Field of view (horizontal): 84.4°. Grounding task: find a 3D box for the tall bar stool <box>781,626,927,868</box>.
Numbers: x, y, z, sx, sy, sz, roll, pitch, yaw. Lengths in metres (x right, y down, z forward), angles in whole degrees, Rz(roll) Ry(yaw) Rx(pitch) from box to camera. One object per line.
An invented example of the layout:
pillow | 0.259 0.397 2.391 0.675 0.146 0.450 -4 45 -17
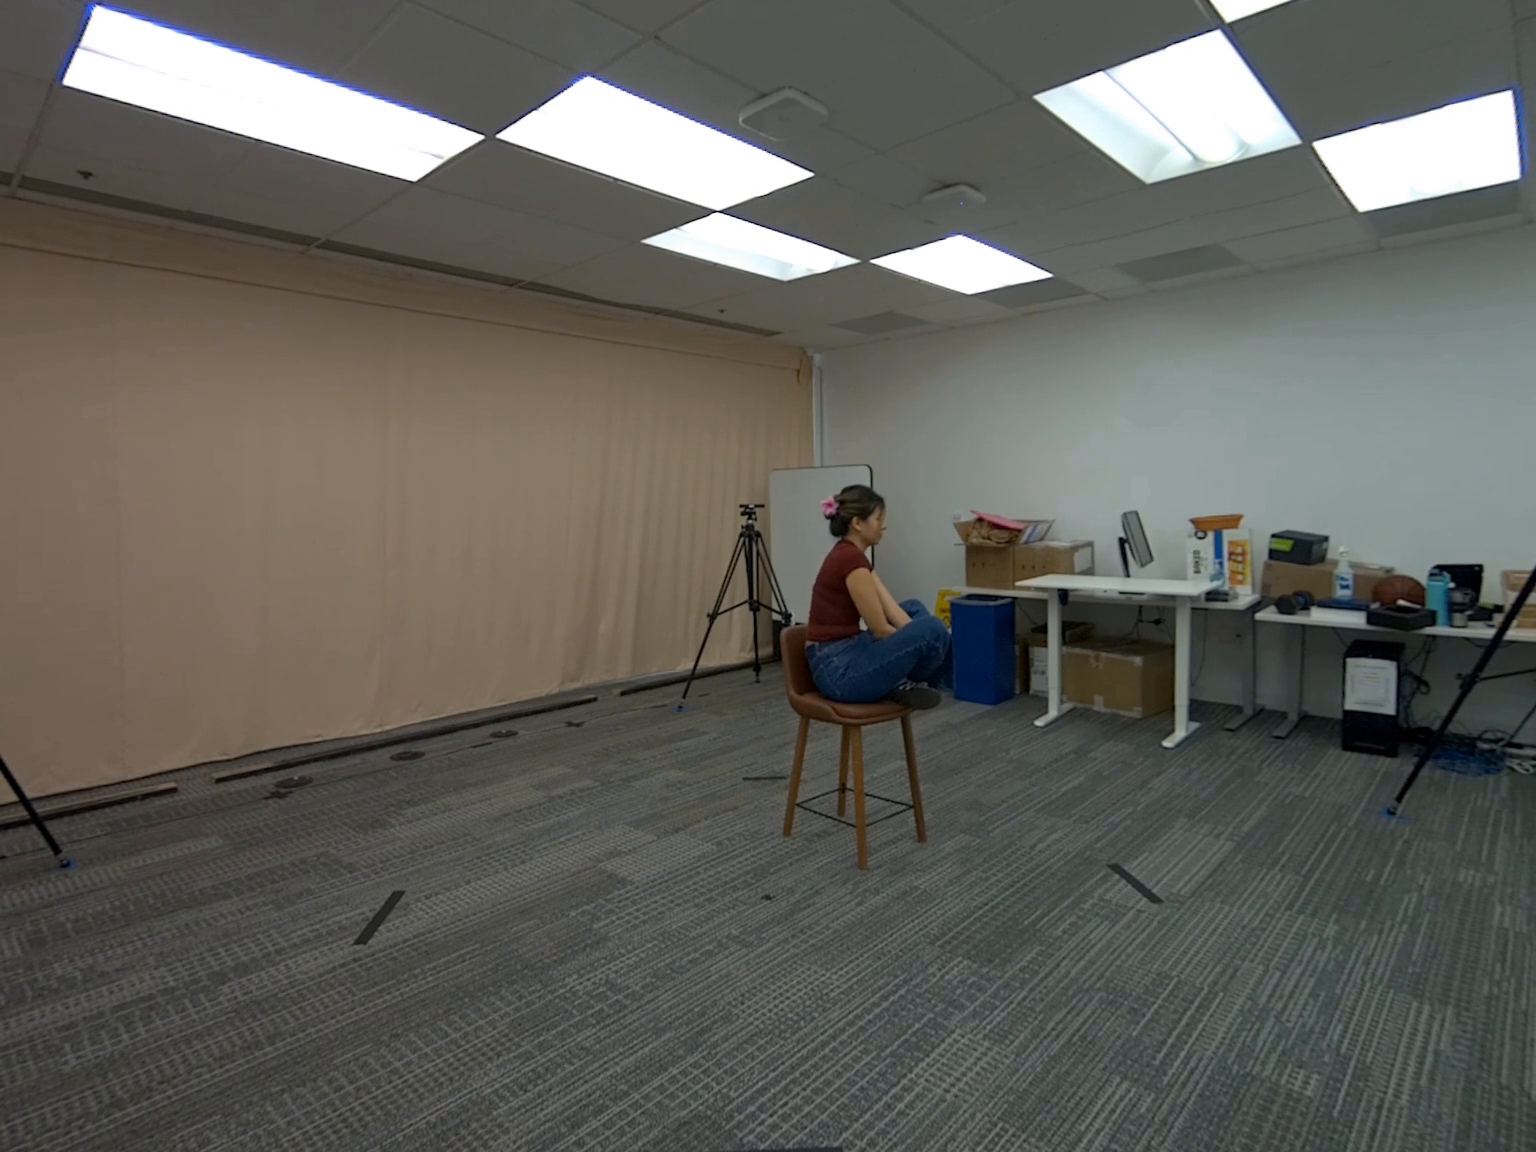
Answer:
tall bar stool | 0.344 0.657 3.480 0.442 0.889 0.482 -3 2 -43
